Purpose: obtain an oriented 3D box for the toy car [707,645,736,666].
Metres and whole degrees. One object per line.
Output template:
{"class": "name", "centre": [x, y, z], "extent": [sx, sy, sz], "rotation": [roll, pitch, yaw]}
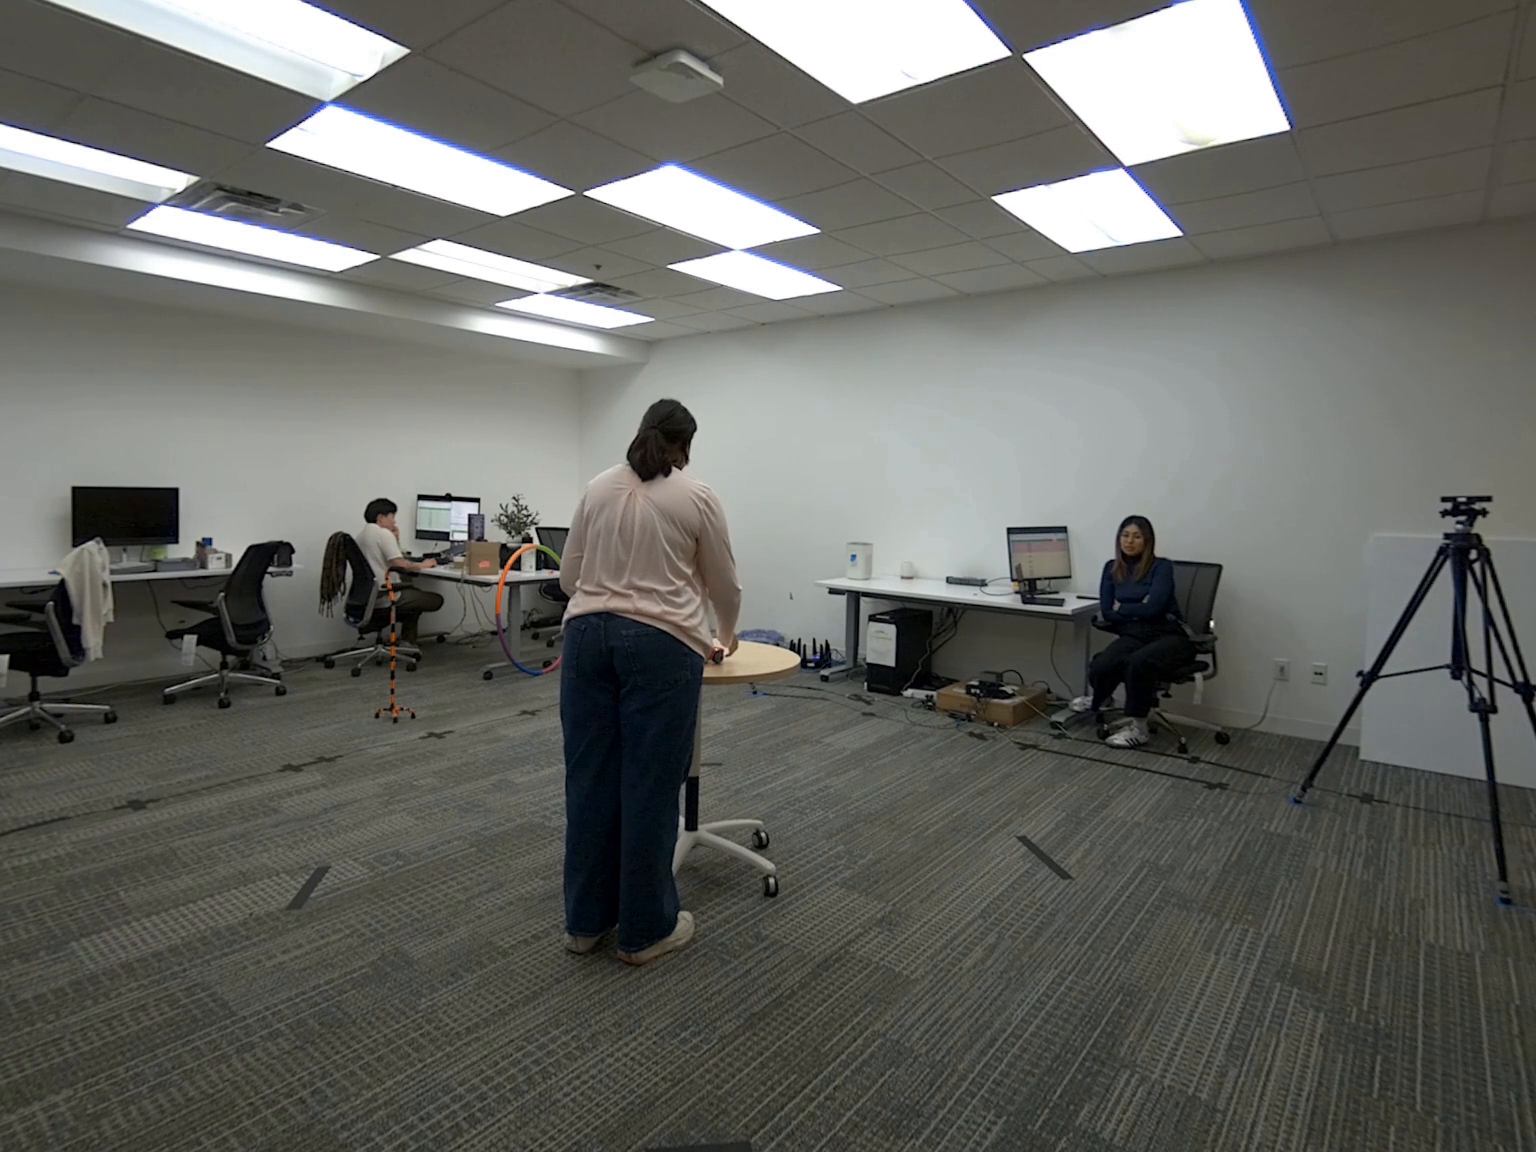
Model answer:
{"class": "toy car", "centre": [-0.281, 0.265, 2.921], "extent": [0.245, 0.083, 0.134], "rotation": [12, -5, -39]}
